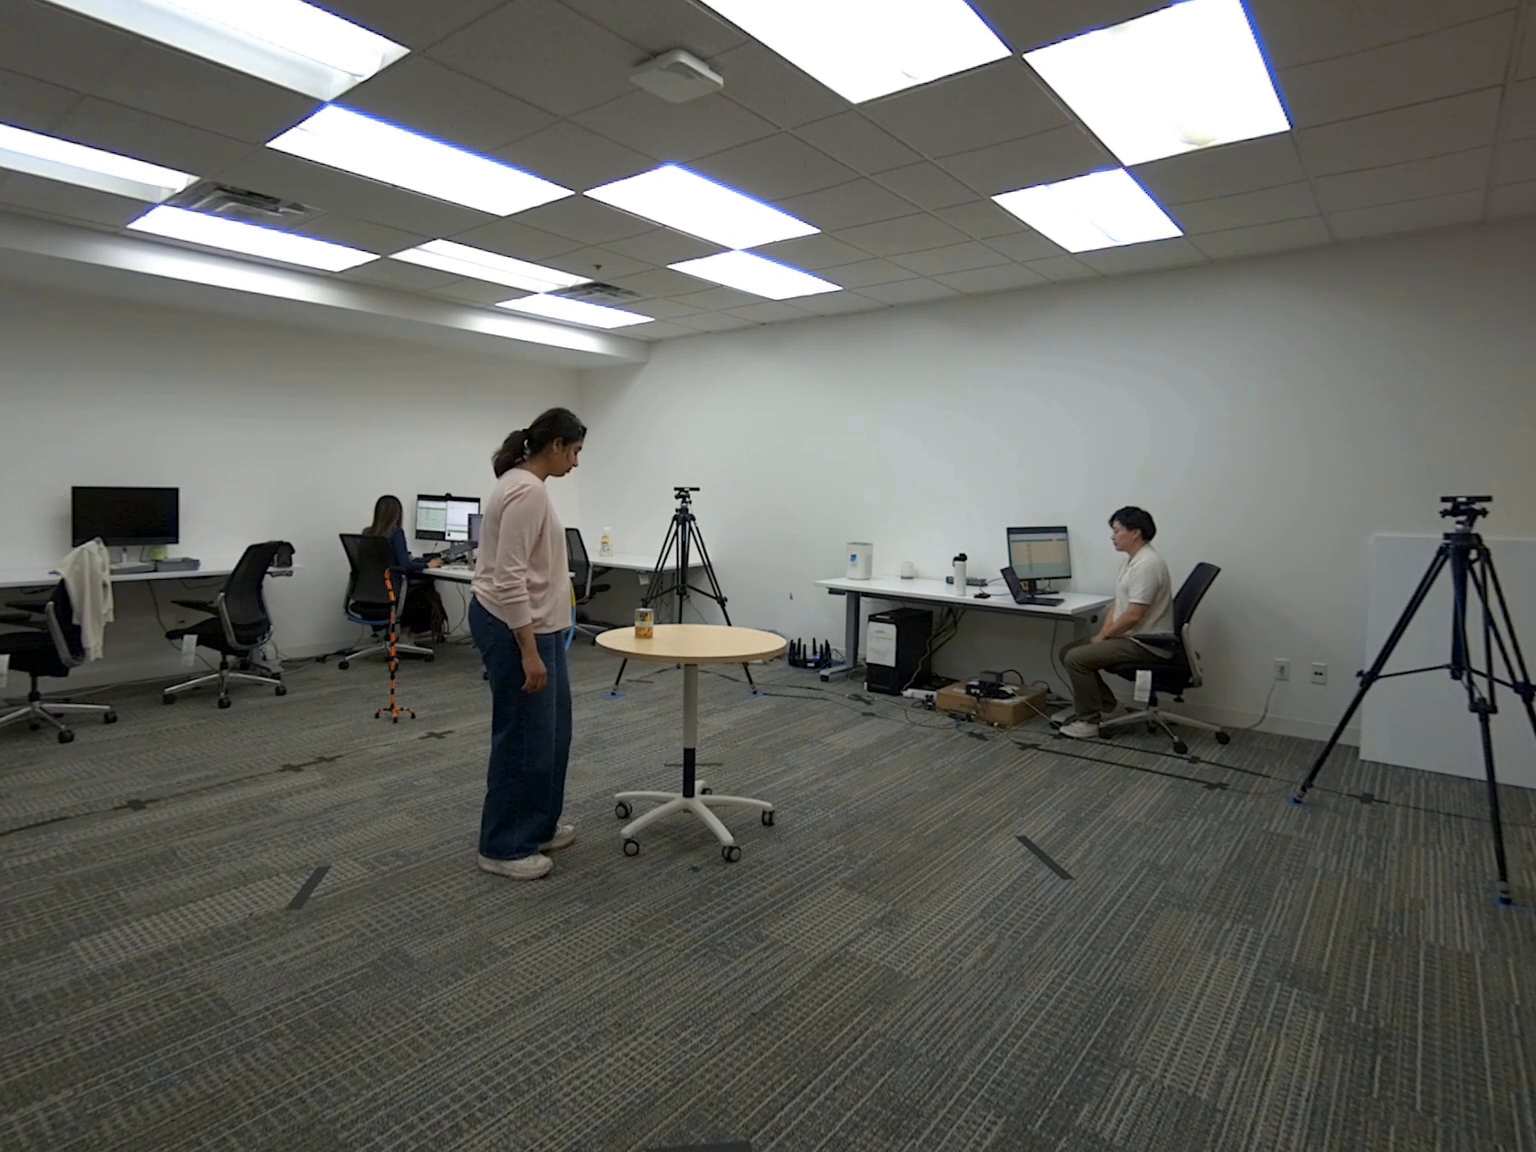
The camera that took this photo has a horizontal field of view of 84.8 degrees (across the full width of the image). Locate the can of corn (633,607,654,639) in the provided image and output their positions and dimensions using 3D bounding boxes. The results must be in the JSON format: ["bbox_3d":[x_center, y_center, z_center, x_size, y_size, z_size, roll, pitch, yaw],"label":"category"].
[{"bbox_3d":[-0.515,0.191,3.434,0.074,0.111,0.074,-1,2,-2],"label":"can of corn"}]
